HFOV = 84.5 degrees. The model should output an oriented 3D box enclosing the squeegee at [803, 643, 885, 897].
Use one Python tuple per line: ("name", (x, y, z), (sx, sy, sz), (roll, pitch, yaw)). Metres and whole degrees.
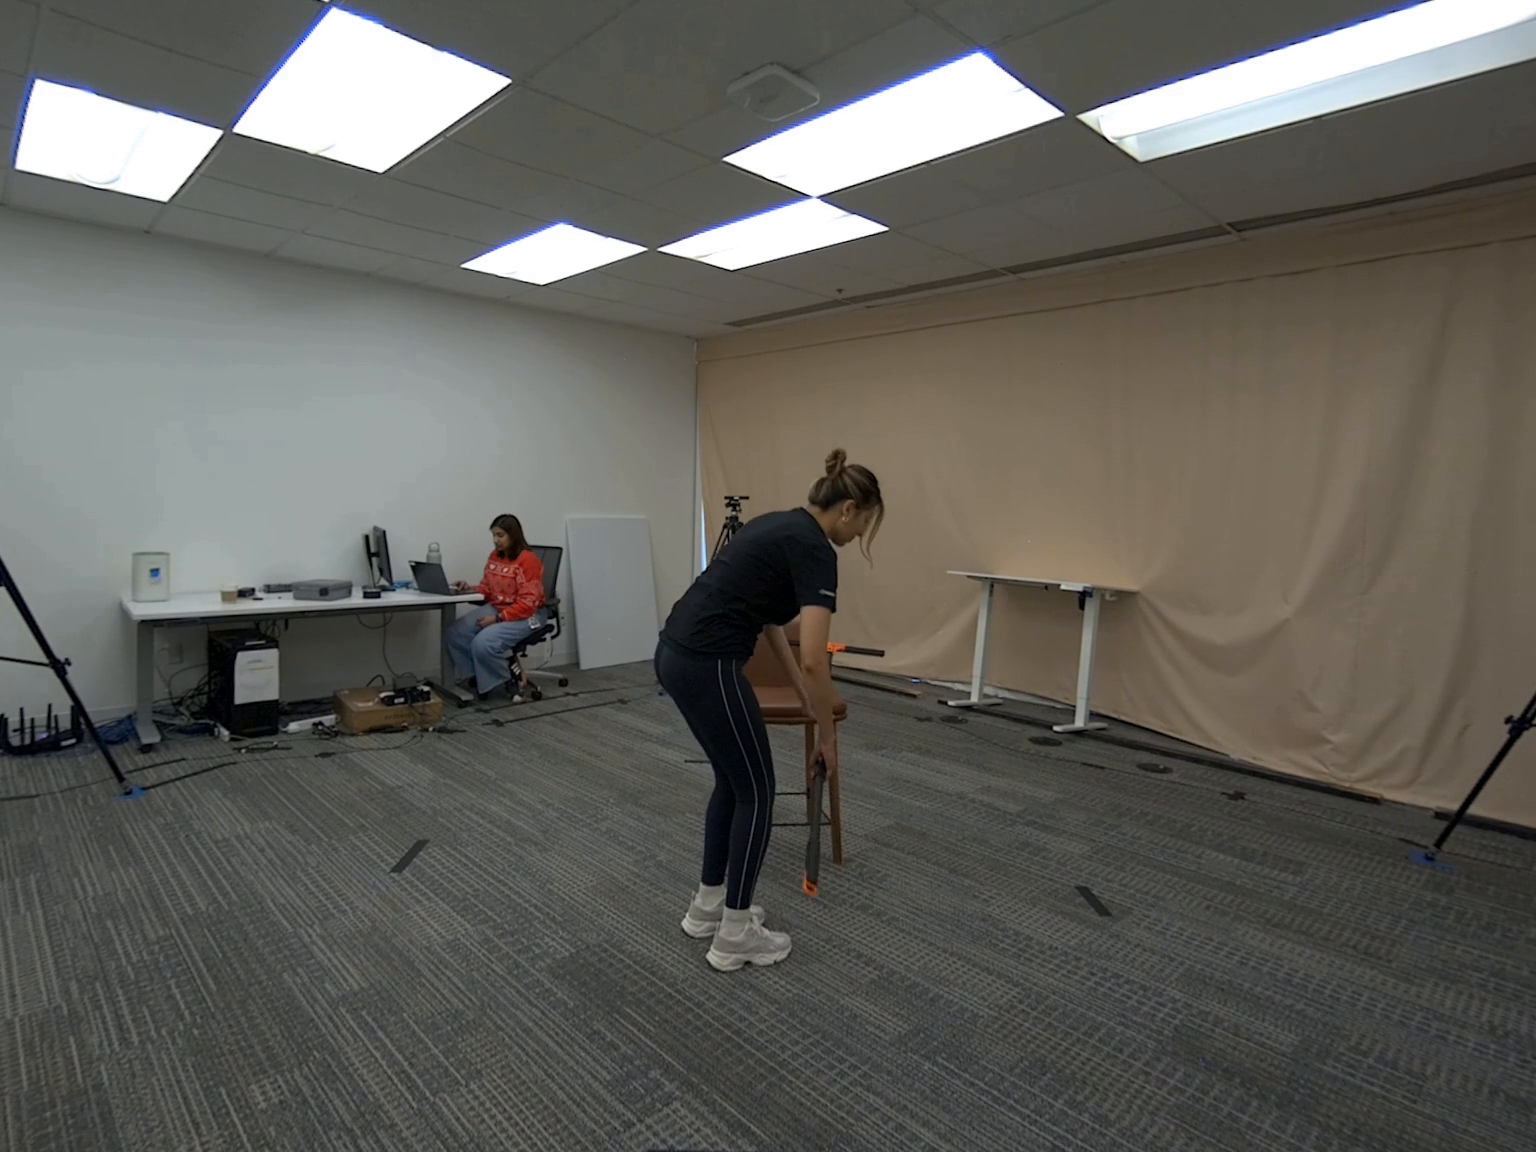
("squeegee", (0.188, 0.531, 2.660), (0.438, 0.052, 1.547), (16, 19, 1))
